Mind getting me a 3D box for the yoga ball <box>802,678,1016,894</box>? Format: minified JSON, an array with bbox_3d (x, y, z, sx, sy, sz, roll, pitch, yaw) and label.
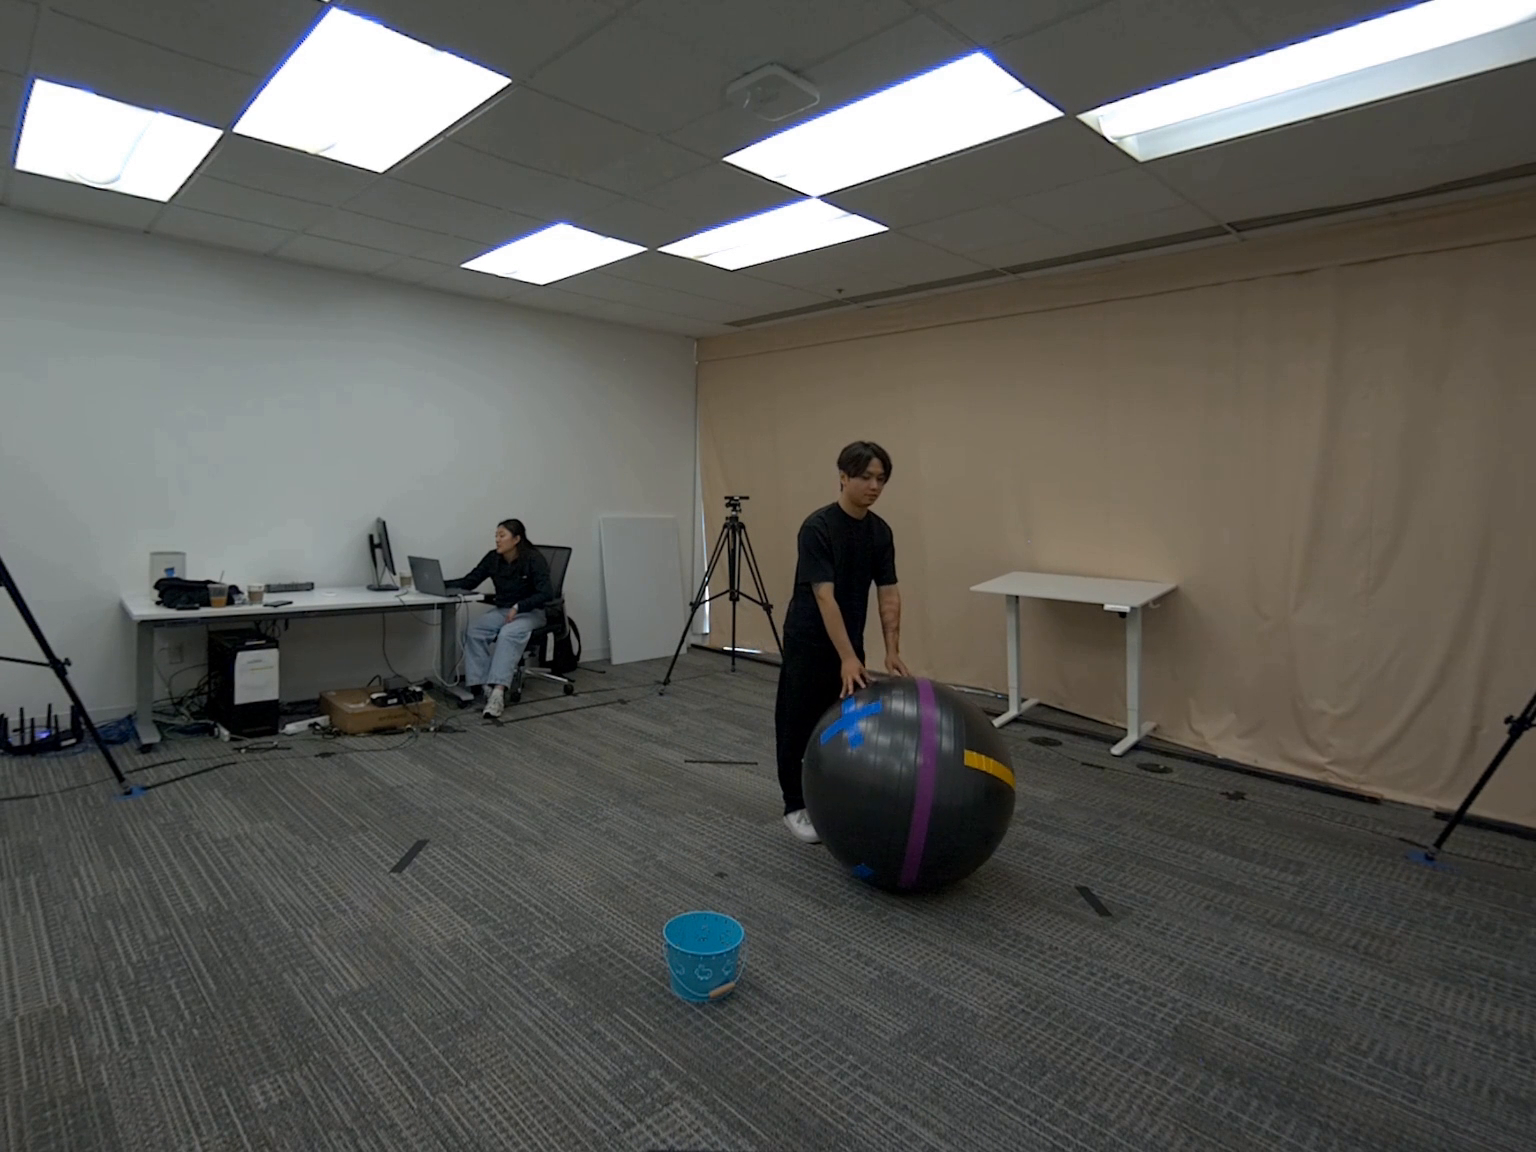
[{"bbox_3d":[0.508,0.757,3.082,0.757,0.756,0.761,1,4,-1],"label":"yoga ball"}]
